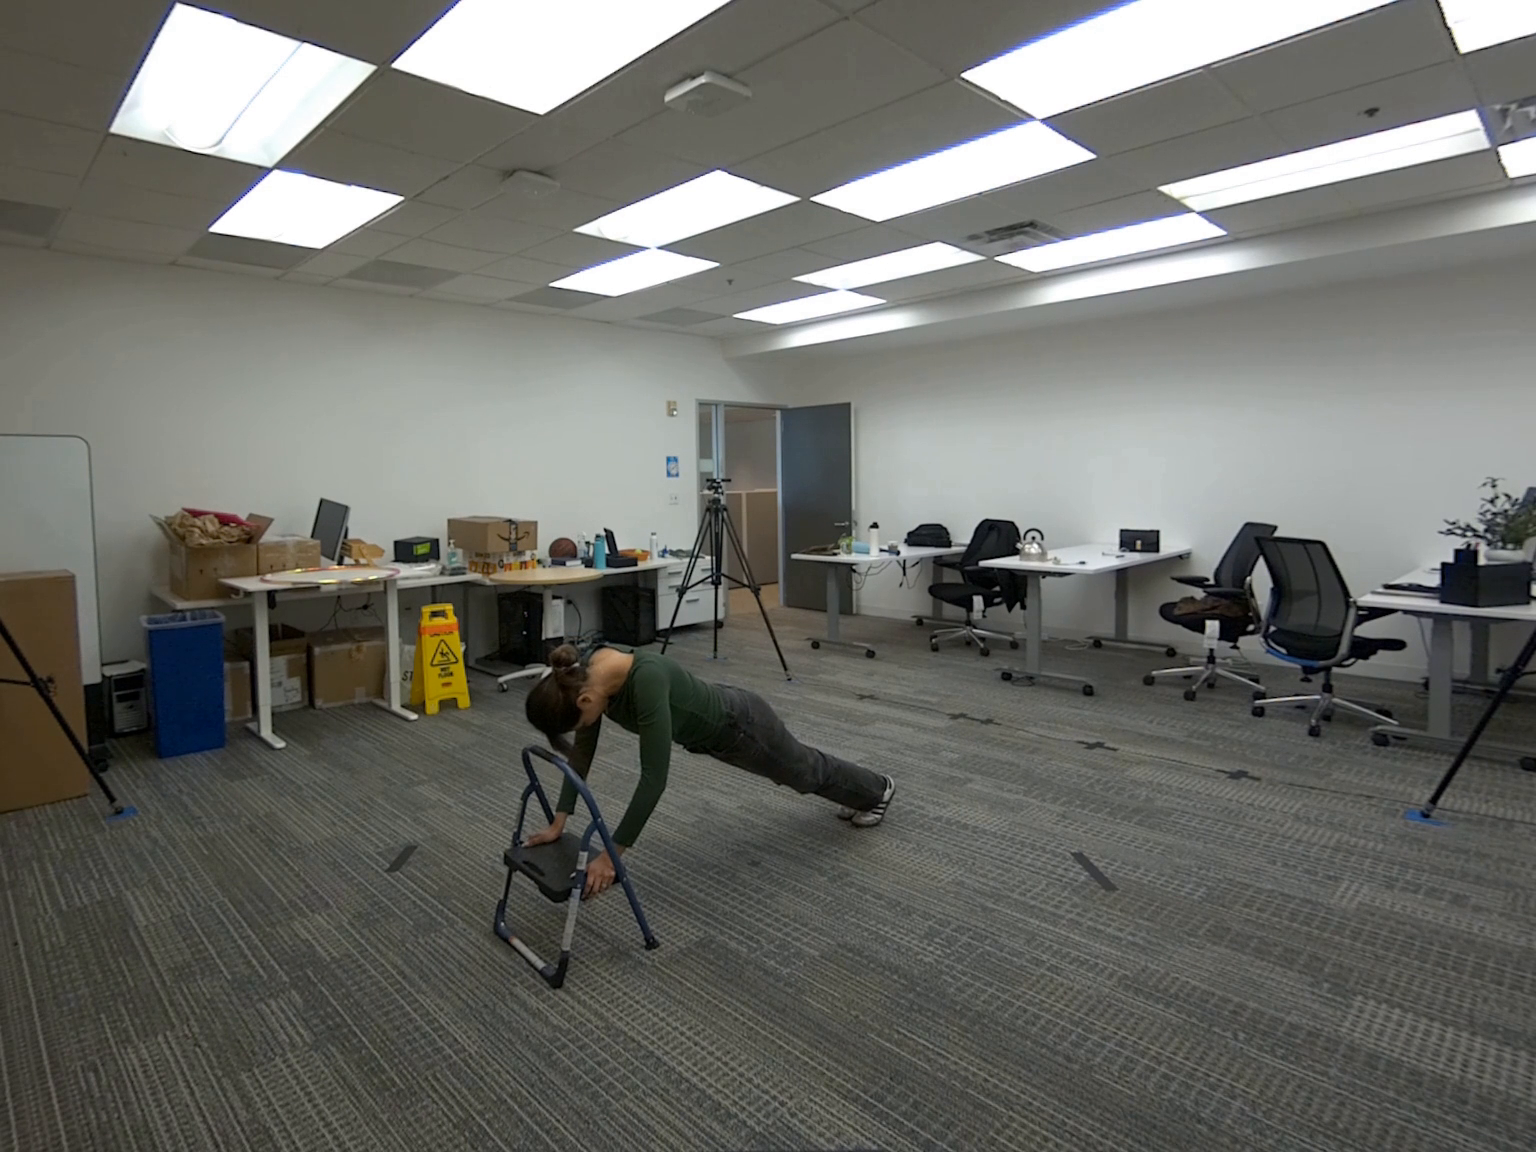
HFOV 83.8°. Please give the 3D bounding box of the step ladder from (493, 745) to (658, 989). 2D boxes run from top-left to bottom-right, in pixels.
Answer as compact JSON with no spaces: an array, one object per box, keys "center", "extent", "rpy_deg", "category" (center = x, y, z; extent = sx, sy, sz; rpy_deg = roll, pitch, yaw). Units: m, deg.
[{"center":[-0.600,0.814,2.602],"extent":[0.340,0.604,0.444],"rpy_deg":[-5,6,-41],"category":"step ladder"}]
